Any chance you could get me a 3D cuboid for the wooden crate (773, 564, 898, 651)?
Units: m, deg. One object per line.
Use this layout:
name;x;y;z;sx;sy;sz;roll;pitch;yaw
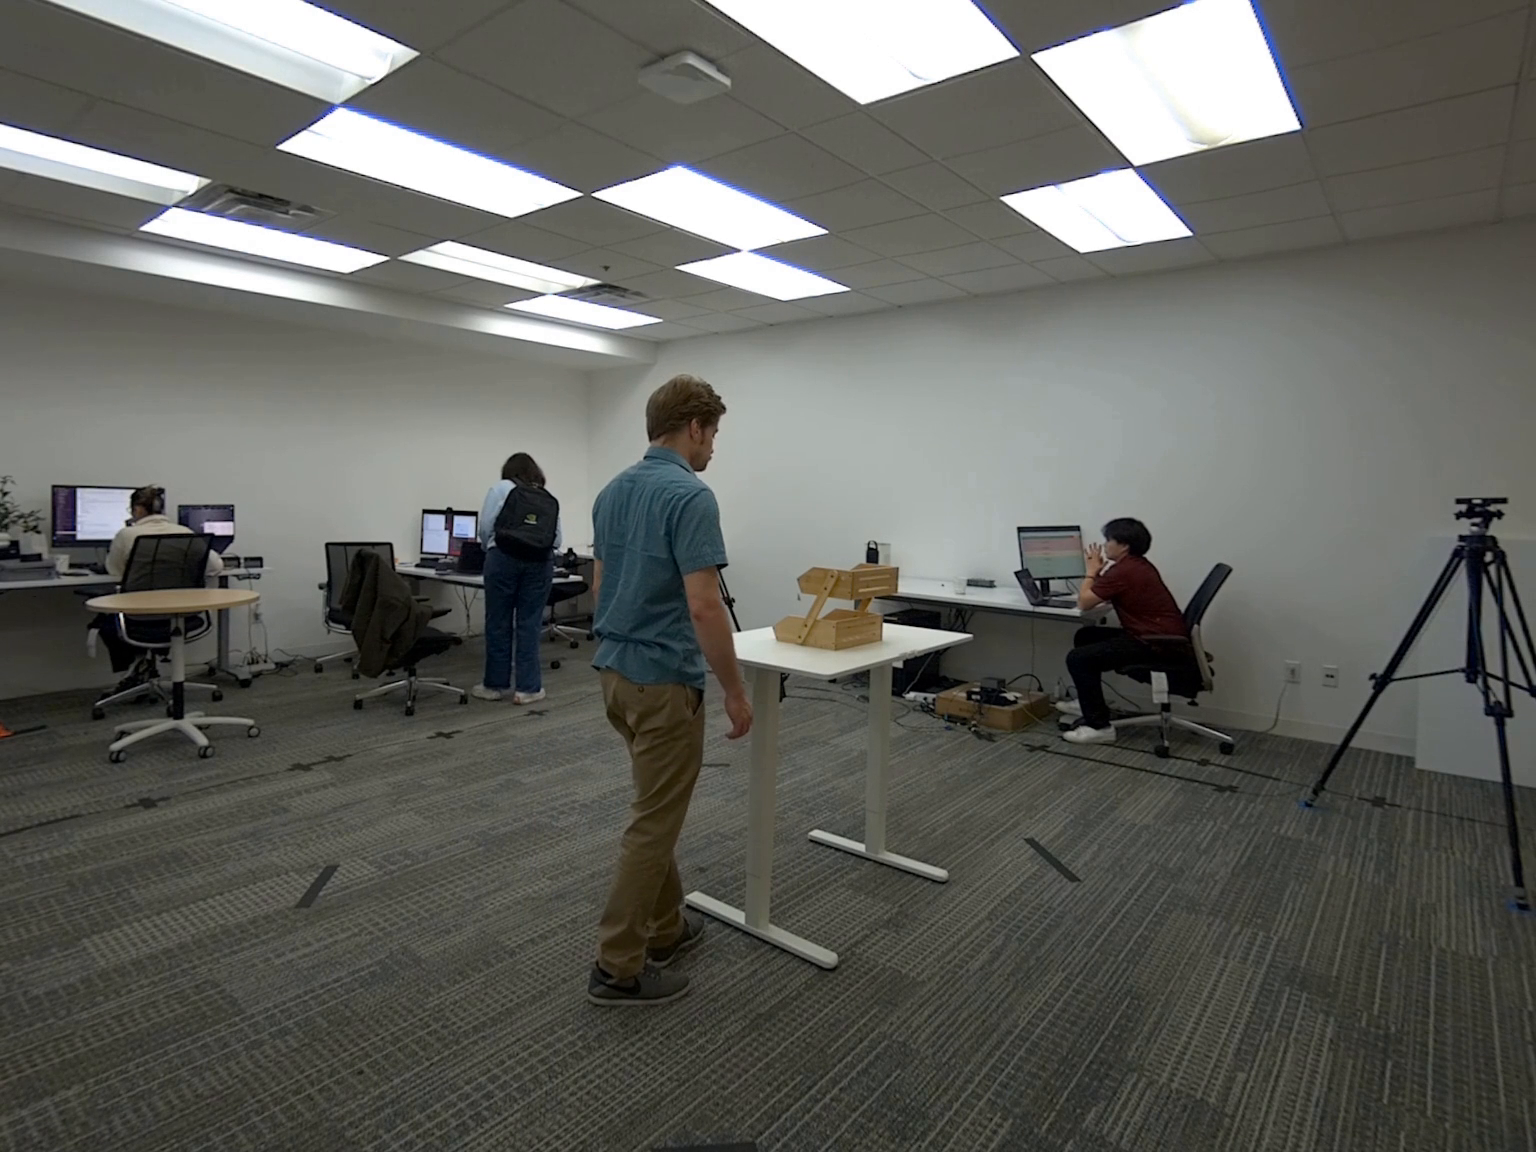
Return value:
wooden crate;0.219;0.086;2.872;0.312;0.272;0.315;6;6;39
